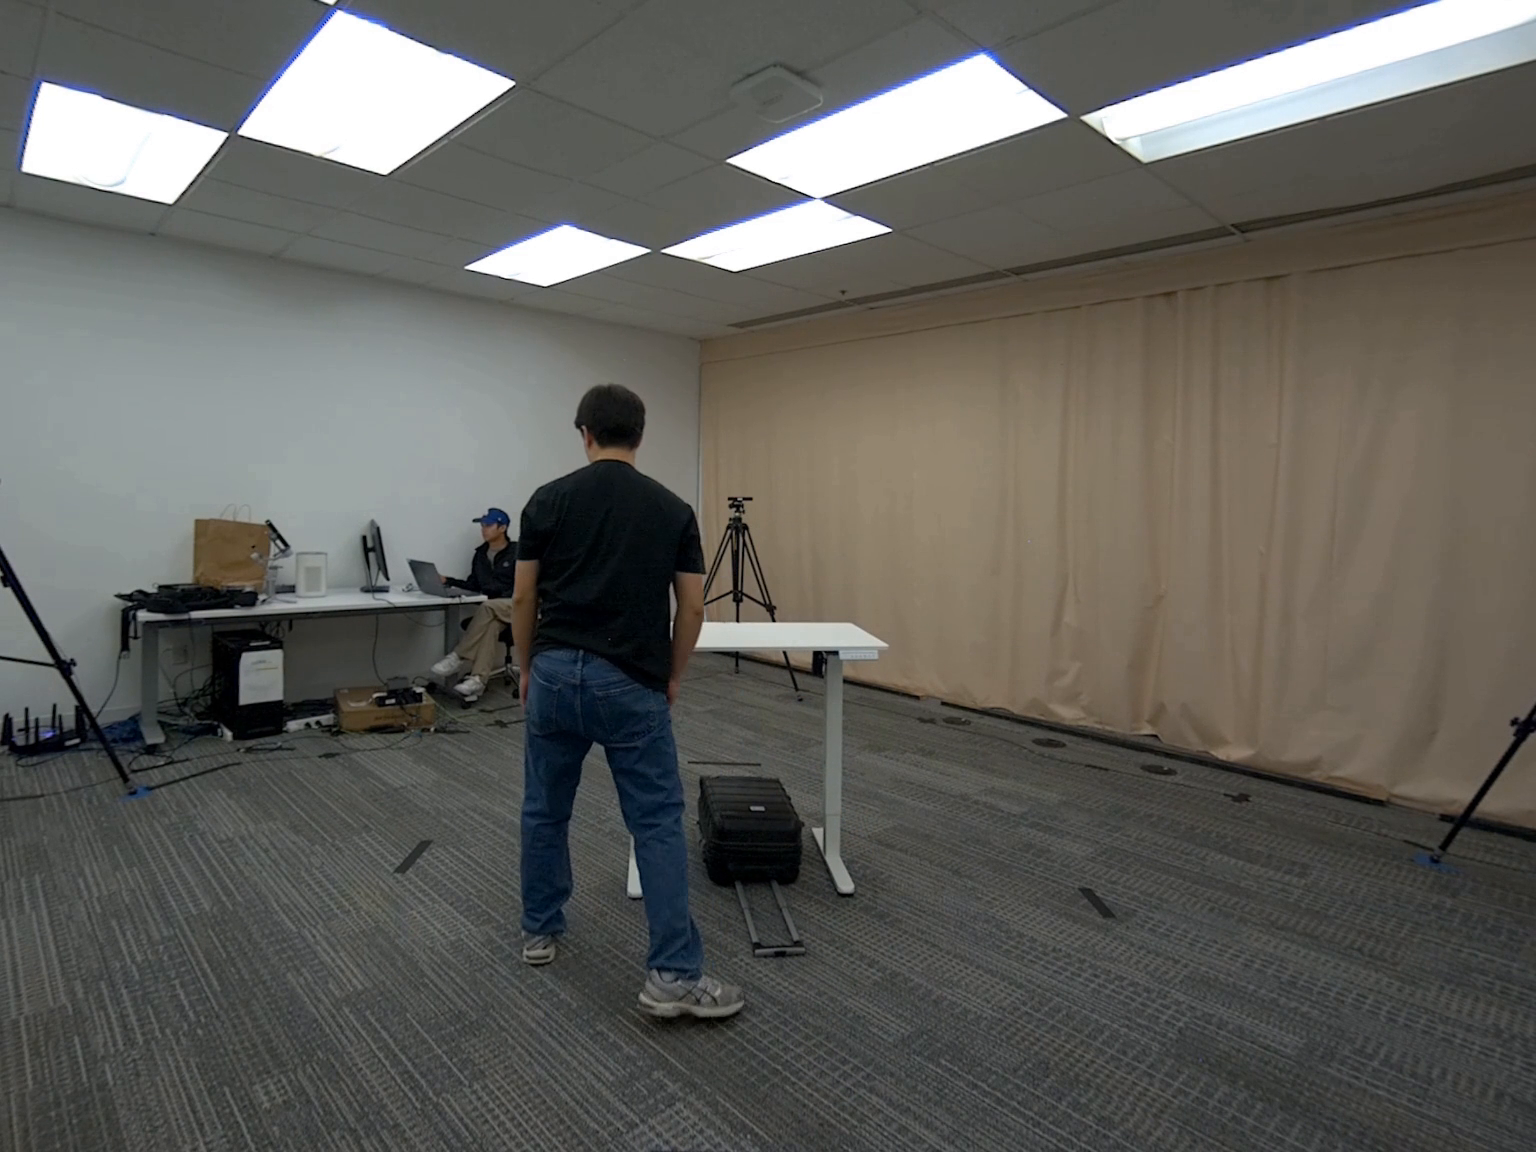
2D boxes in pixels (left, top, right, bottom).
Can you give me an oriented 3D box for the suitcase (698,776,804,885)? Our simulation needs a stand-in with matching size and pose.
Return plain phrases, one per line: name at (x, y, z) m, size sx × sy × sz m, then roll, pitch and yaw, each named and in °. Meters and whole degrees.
suitcase at (-0.054, 0.986, 3.044) m, size 0.381 × 0.256 × 0.987 m, roll 2°, pitch 4°, yaw -9°
